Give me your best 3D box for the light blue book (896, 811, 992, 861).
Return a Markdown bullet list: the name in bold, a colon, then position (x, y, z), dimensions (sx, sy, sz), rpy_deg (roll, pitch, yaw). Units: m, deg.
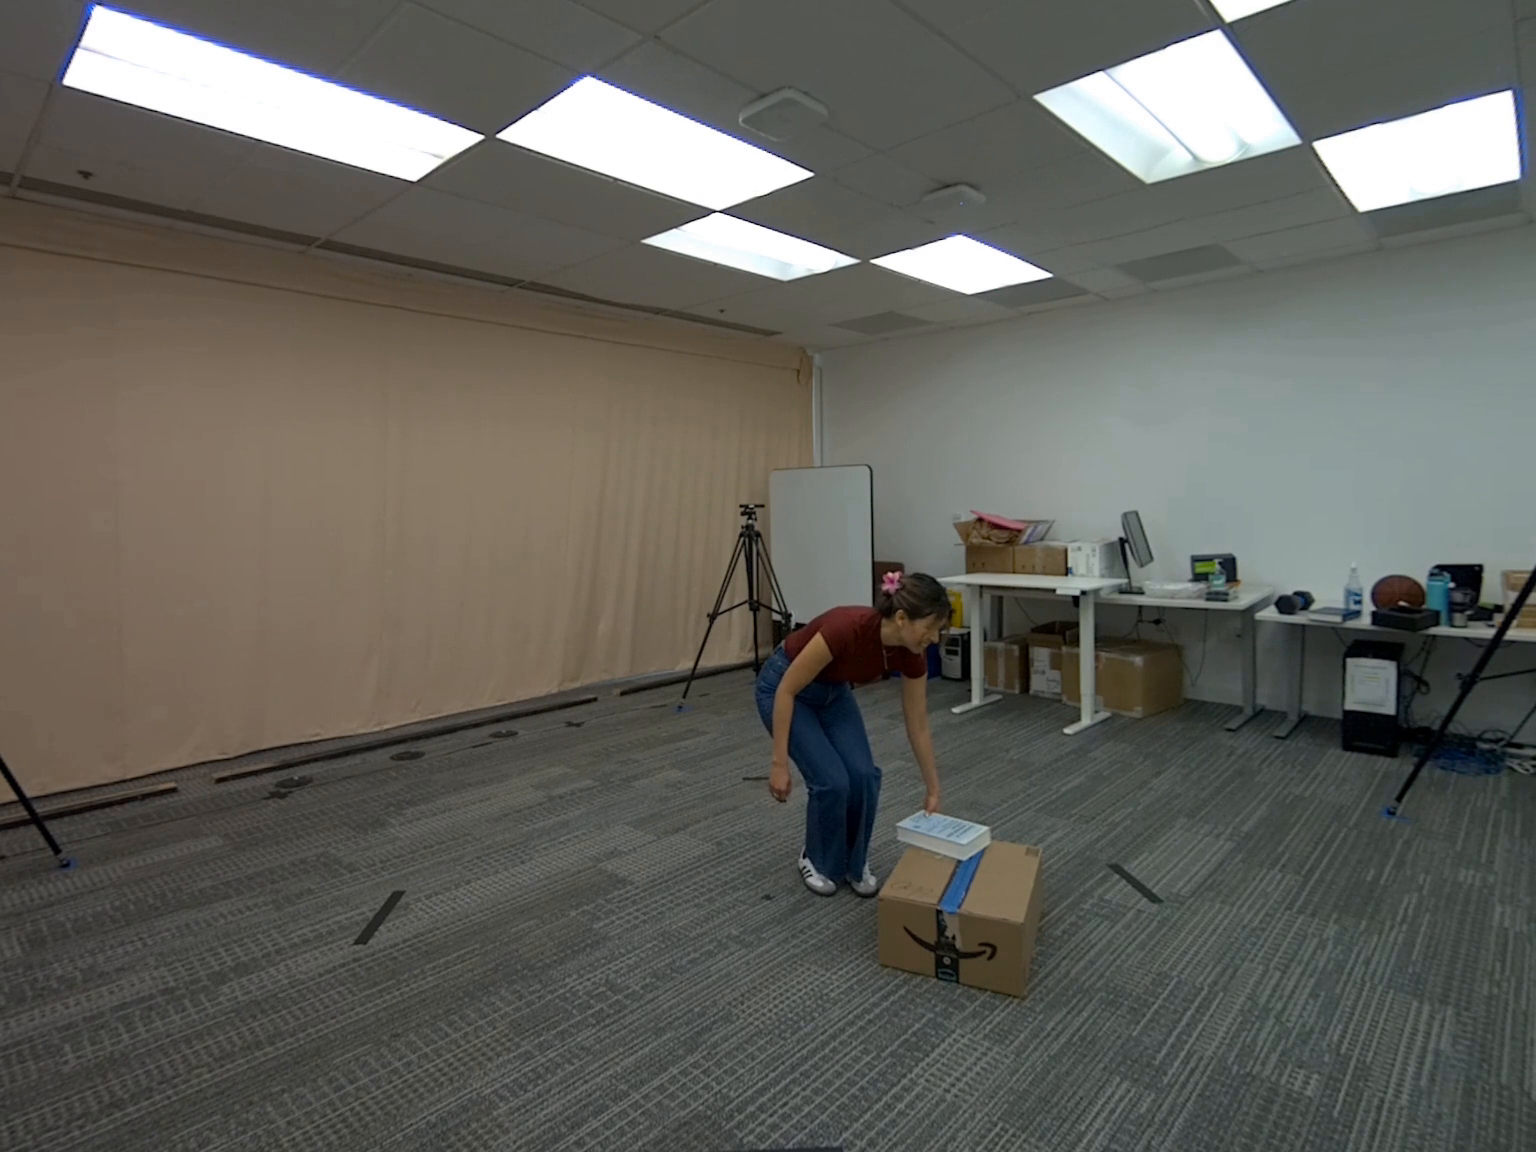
- **light blue book**: position (0.609, 0.889, 2.903), dimensions (0.270, 0.059, 0.186), rpy_deg (3, 8, 42)
